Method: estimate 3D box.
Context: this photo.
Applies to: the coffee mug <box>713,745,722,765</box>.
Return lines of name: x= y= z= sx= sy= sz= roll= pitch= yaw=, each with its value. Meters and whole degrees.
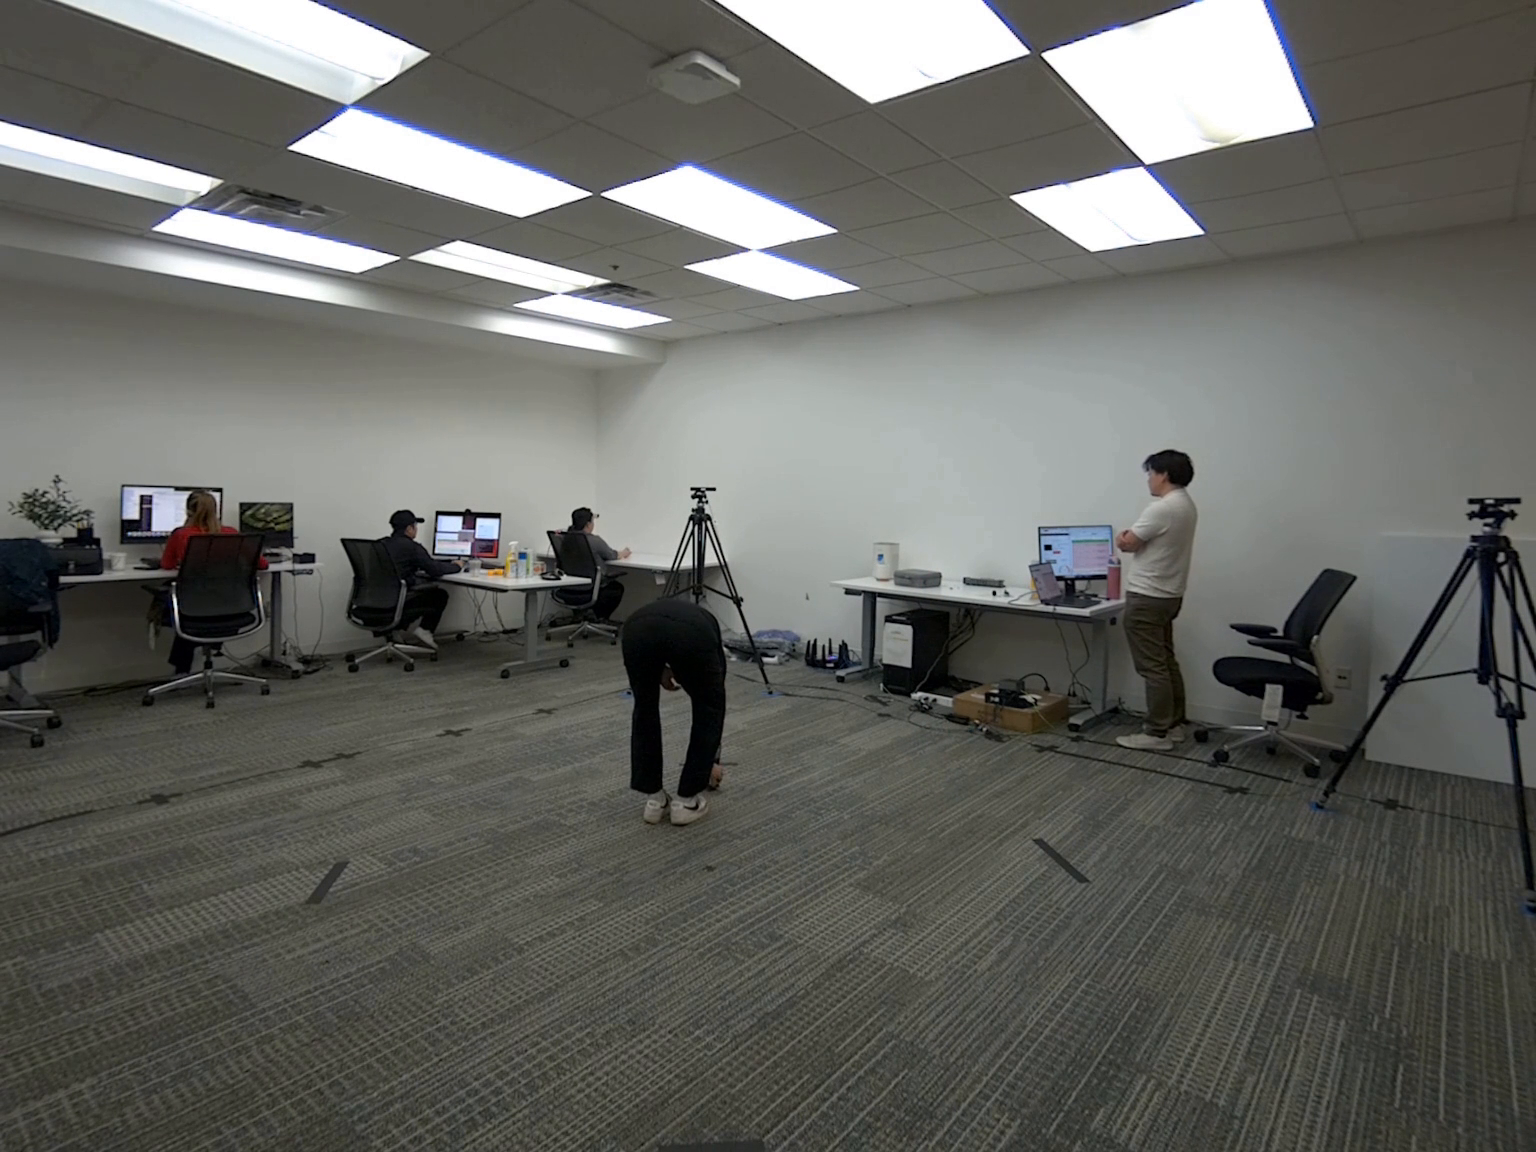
coffee mug: x=-0.290 y=0.871 z=3.954 sx=0.126 sy=0.204 sz=0.085 roll=-2 pitch=-4 yaw=37
